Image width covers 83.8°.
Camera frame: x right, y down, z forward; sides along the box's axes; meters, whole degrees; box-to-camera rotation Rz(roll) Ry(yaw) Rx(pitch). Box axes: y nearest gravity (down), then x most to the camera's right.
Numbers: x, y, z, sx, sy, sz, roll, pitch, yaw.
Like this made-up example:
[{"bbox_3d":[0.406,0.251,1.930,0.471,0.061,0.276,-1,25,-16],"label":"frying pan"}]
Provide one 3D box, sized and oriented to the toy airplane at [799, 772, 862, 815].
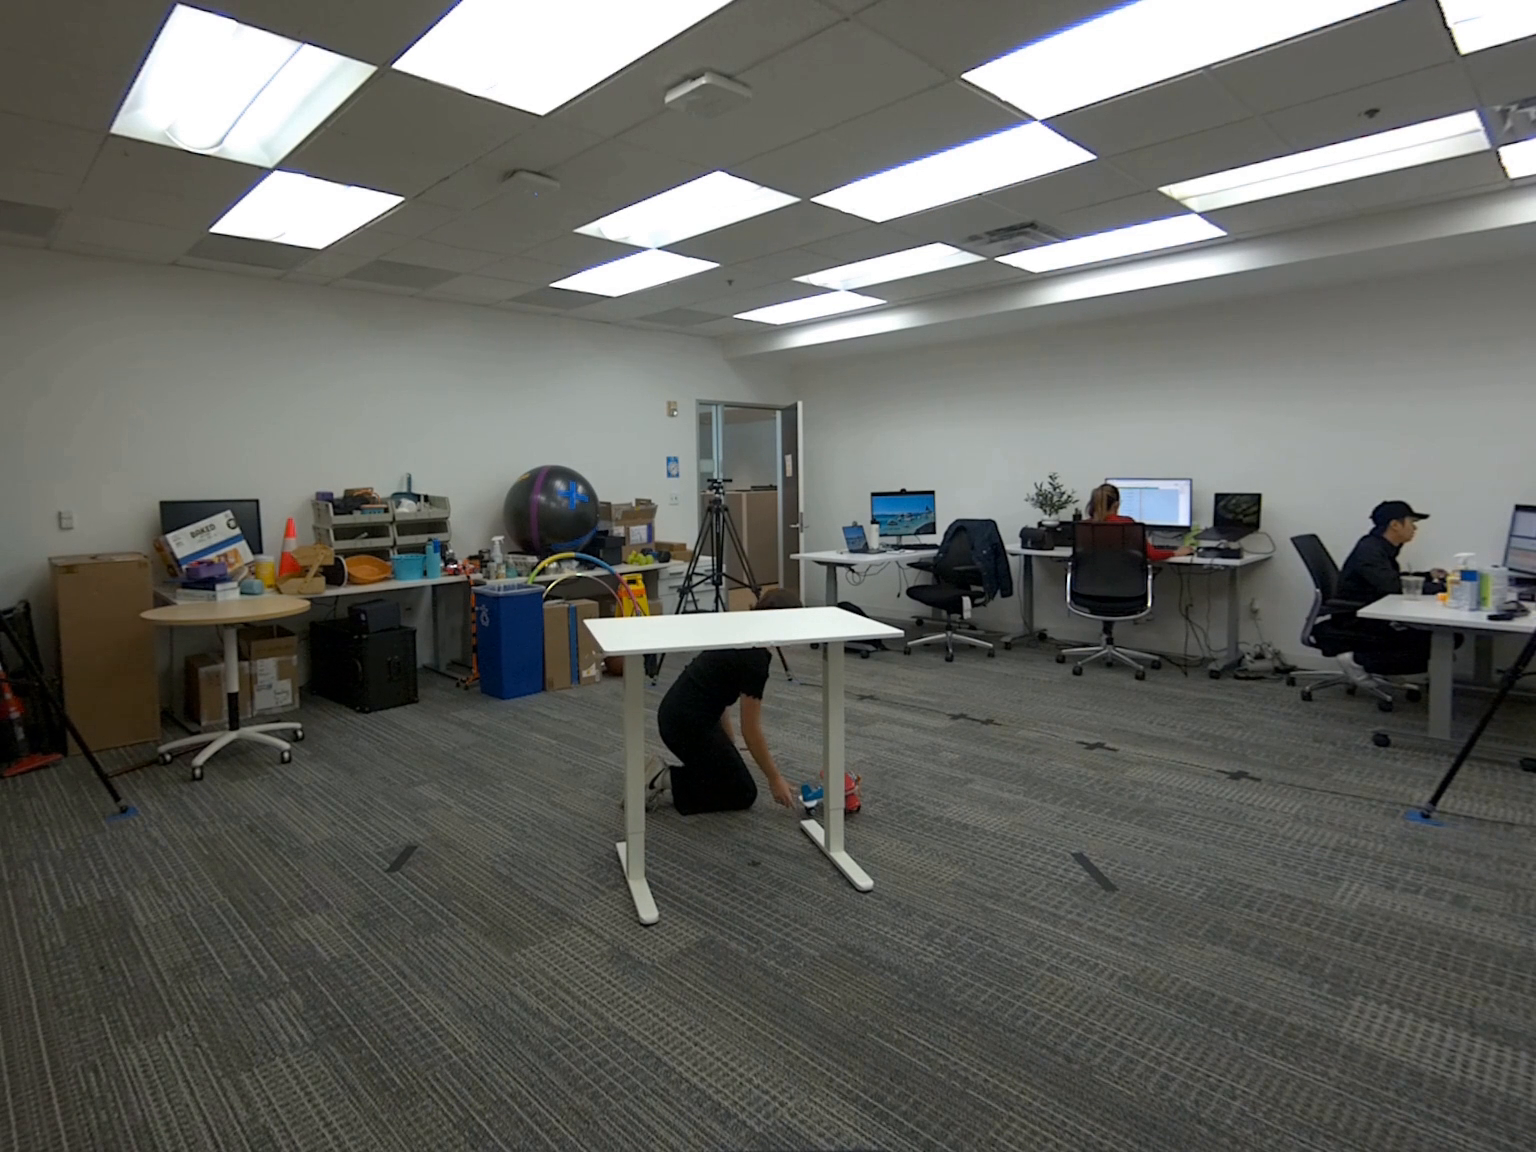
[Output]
[{"bbox_3d":[0.266,0.907,3.558,0.252,0.156,0.259,-4,6,-45],"label":"toy airplane"}]
